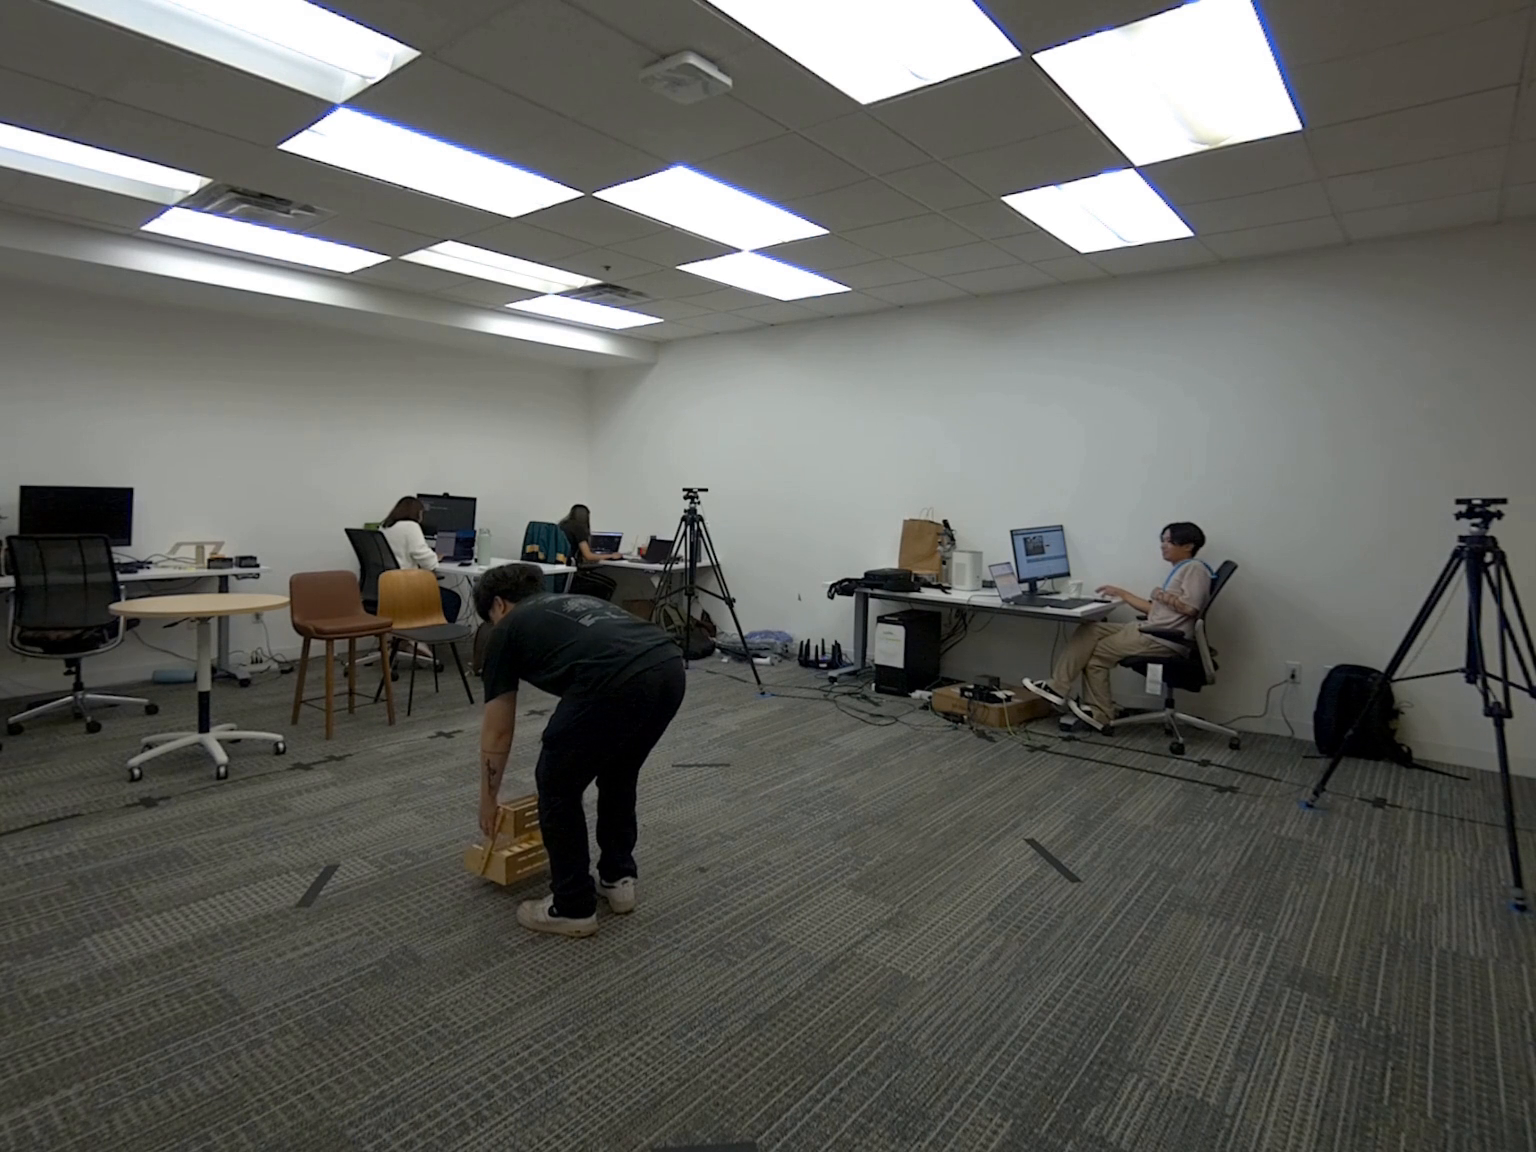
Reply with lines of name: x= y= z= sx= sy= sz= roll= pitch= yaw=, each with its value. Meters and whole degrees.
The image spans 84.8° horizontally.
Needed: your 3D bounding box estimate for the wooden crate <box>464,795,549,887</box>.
wooden crate: x=-0.880 y=0.875 z=2.997 sx=0.311 sy=0.273 sz=0.315 roll=2 pitch=3 yaw=36
